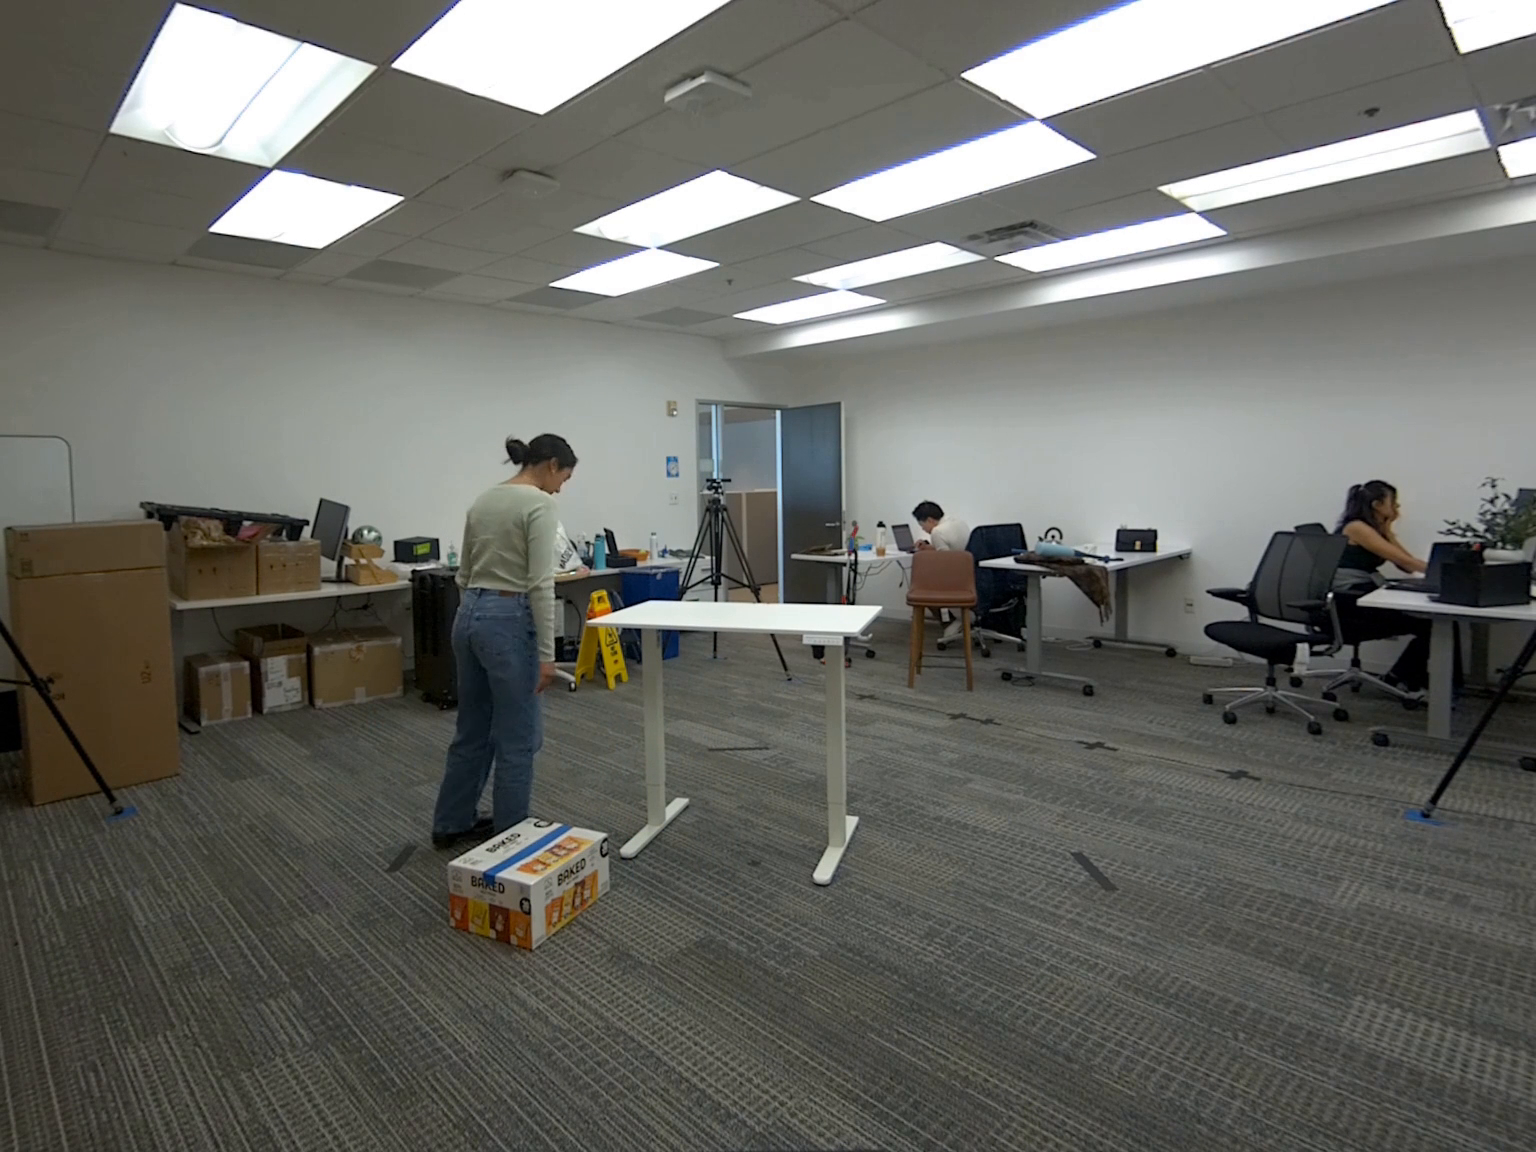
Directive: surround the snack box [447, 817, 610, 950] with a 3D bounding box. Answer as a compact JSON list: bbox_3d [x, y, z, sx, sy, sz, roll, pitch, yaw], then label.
[{"bbox_3d":[-0.775,0.992,2.801,0.348,0.205,0.397,2,7,25],"label":"snack box"}]
